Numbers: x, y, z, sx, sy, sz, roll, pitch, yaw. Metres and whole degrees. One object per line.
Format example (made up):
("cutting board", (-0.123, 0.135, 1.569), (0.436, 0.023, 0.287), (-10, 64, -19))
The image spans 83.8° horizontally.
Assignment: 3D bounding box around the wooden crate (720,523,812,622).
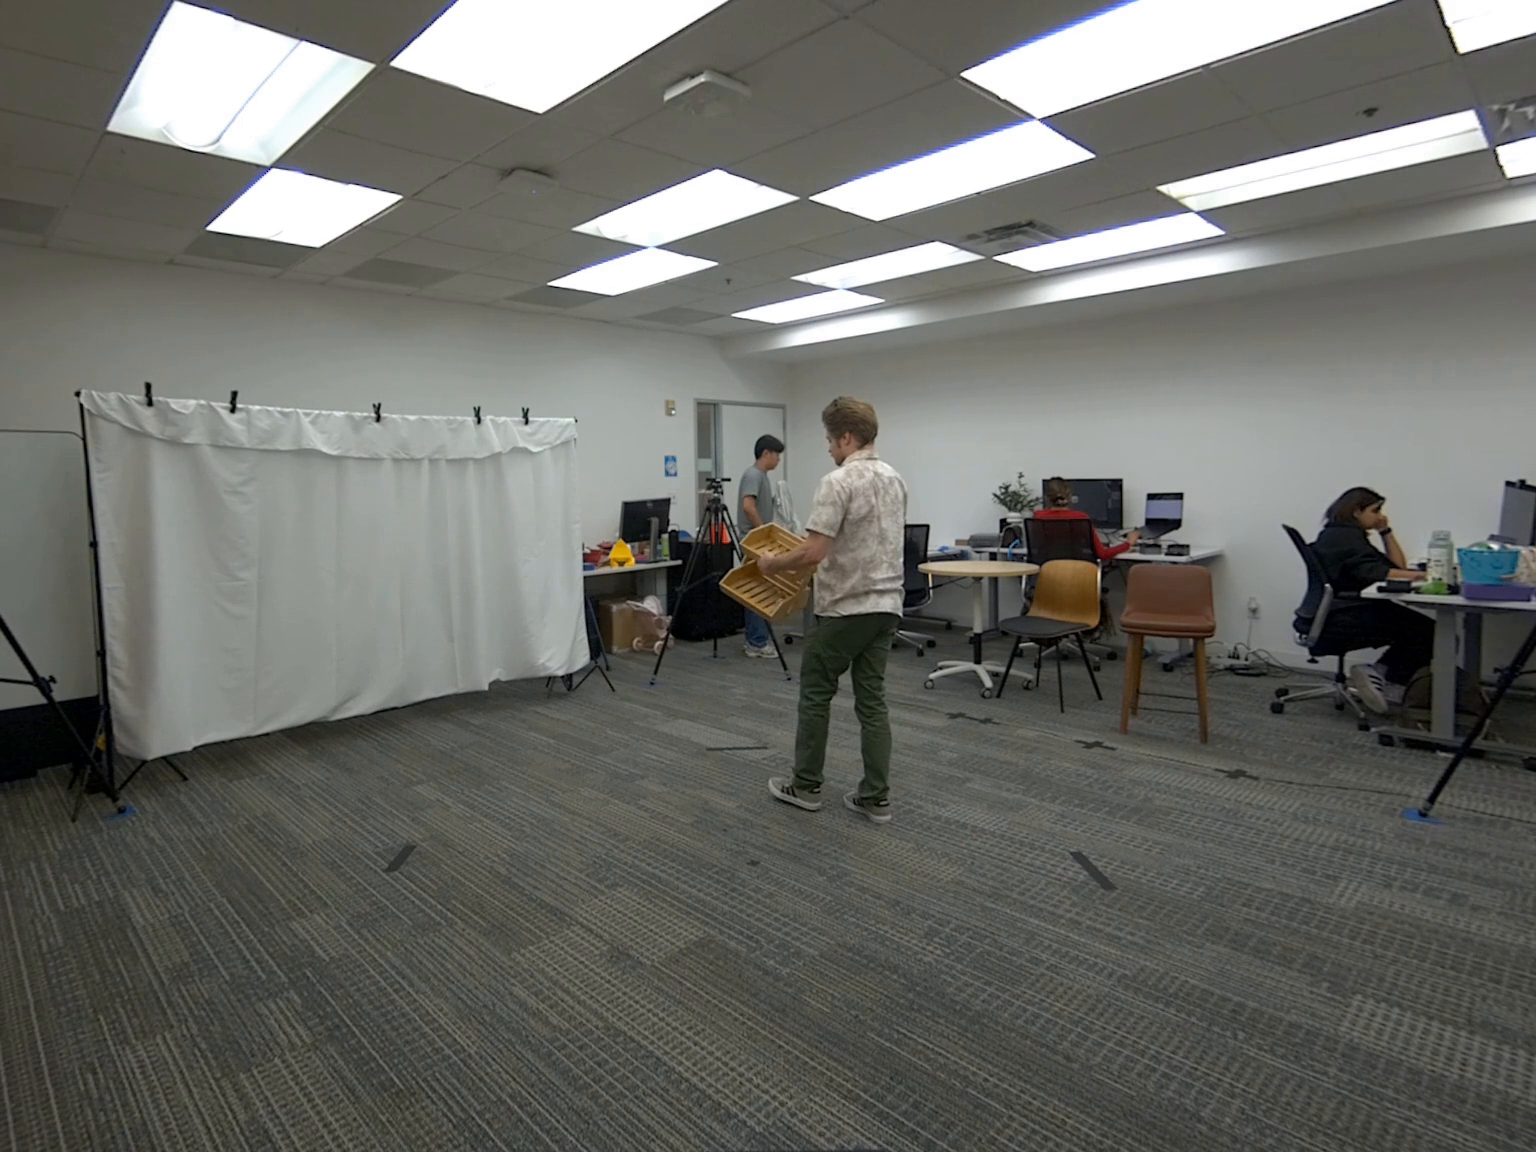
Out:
("wooden crate", (0.014, -0.022, 3.669), (0.336, 0.268, 0.297), (31, 35, 32))
